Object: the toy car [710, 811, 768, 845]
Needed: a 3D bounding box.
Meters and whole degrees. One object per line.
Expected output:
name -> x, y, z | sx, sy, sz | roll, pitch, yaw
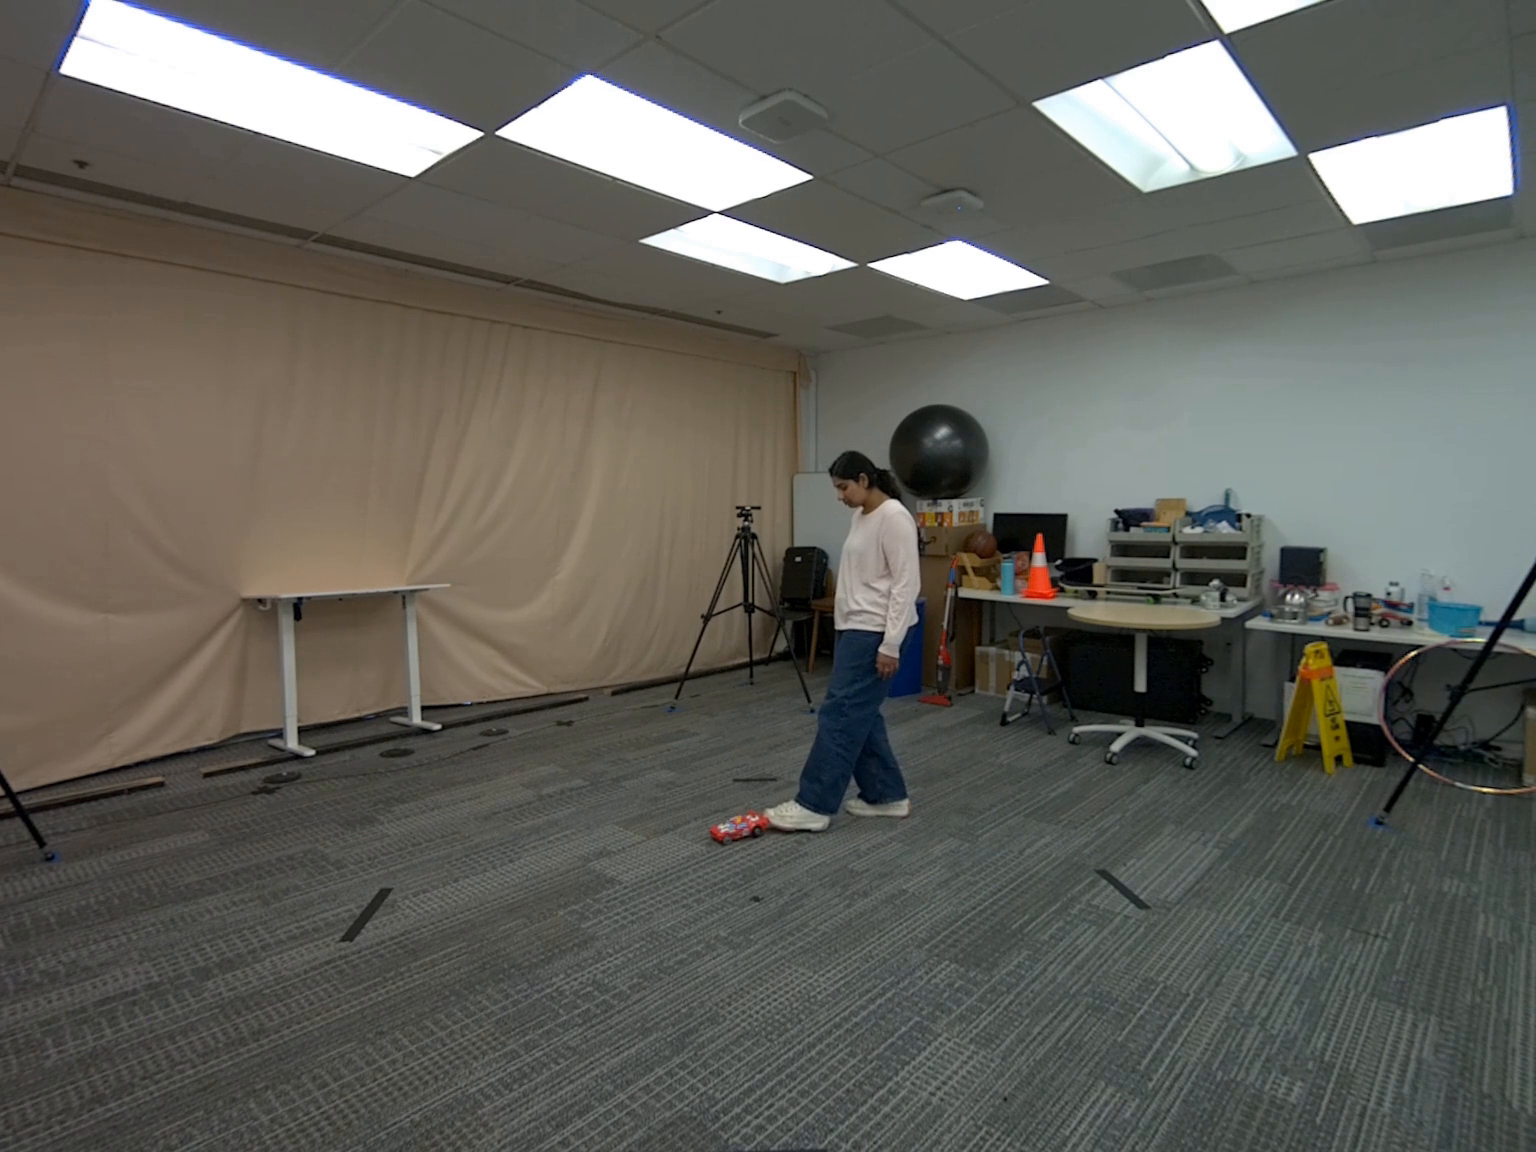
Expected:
toy car -> -0.111, 1.062, 3.546 | 0.249, 0.082, 0.134 | -18, 11, -27
